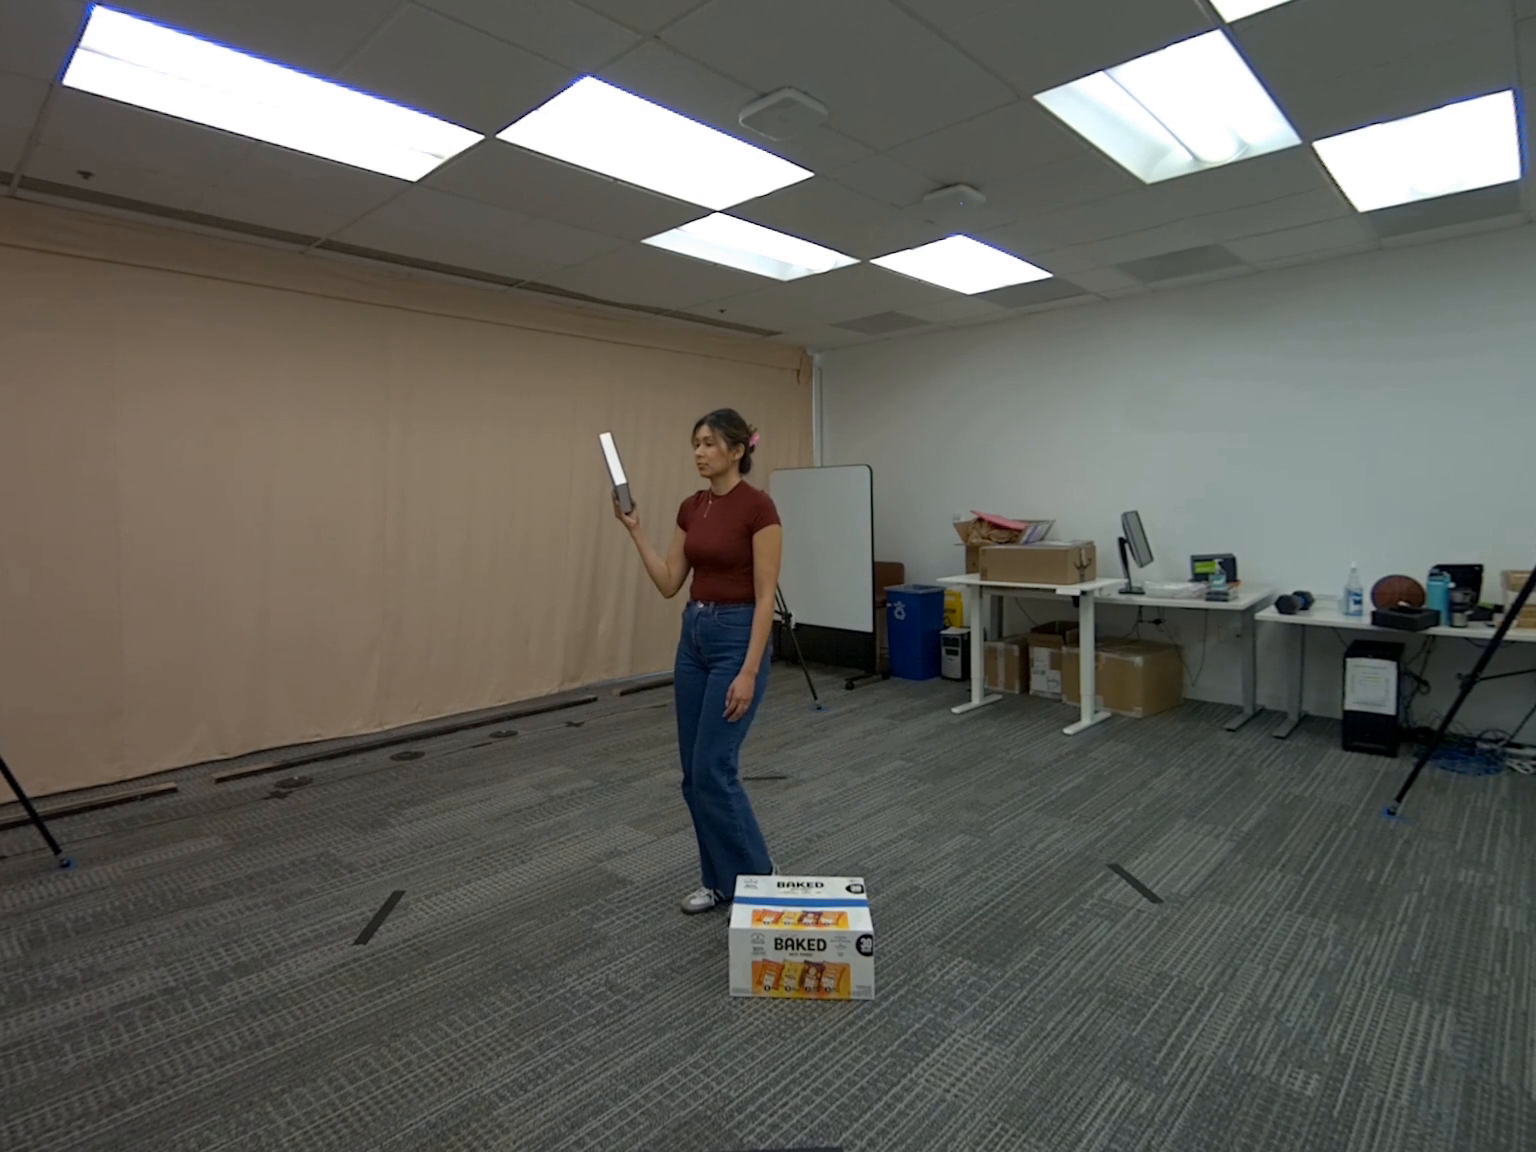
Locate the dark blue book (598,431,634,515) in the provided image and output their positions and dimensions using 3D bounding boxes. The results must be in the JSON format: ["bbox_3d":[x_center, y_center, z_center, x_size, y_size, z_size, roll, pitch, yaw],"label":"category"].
[{"bbox_3d":[-0.519,-0.355,2.901,0.045,0.252,0.160,-16,-32,-10],"label":"dark blue book"}]
